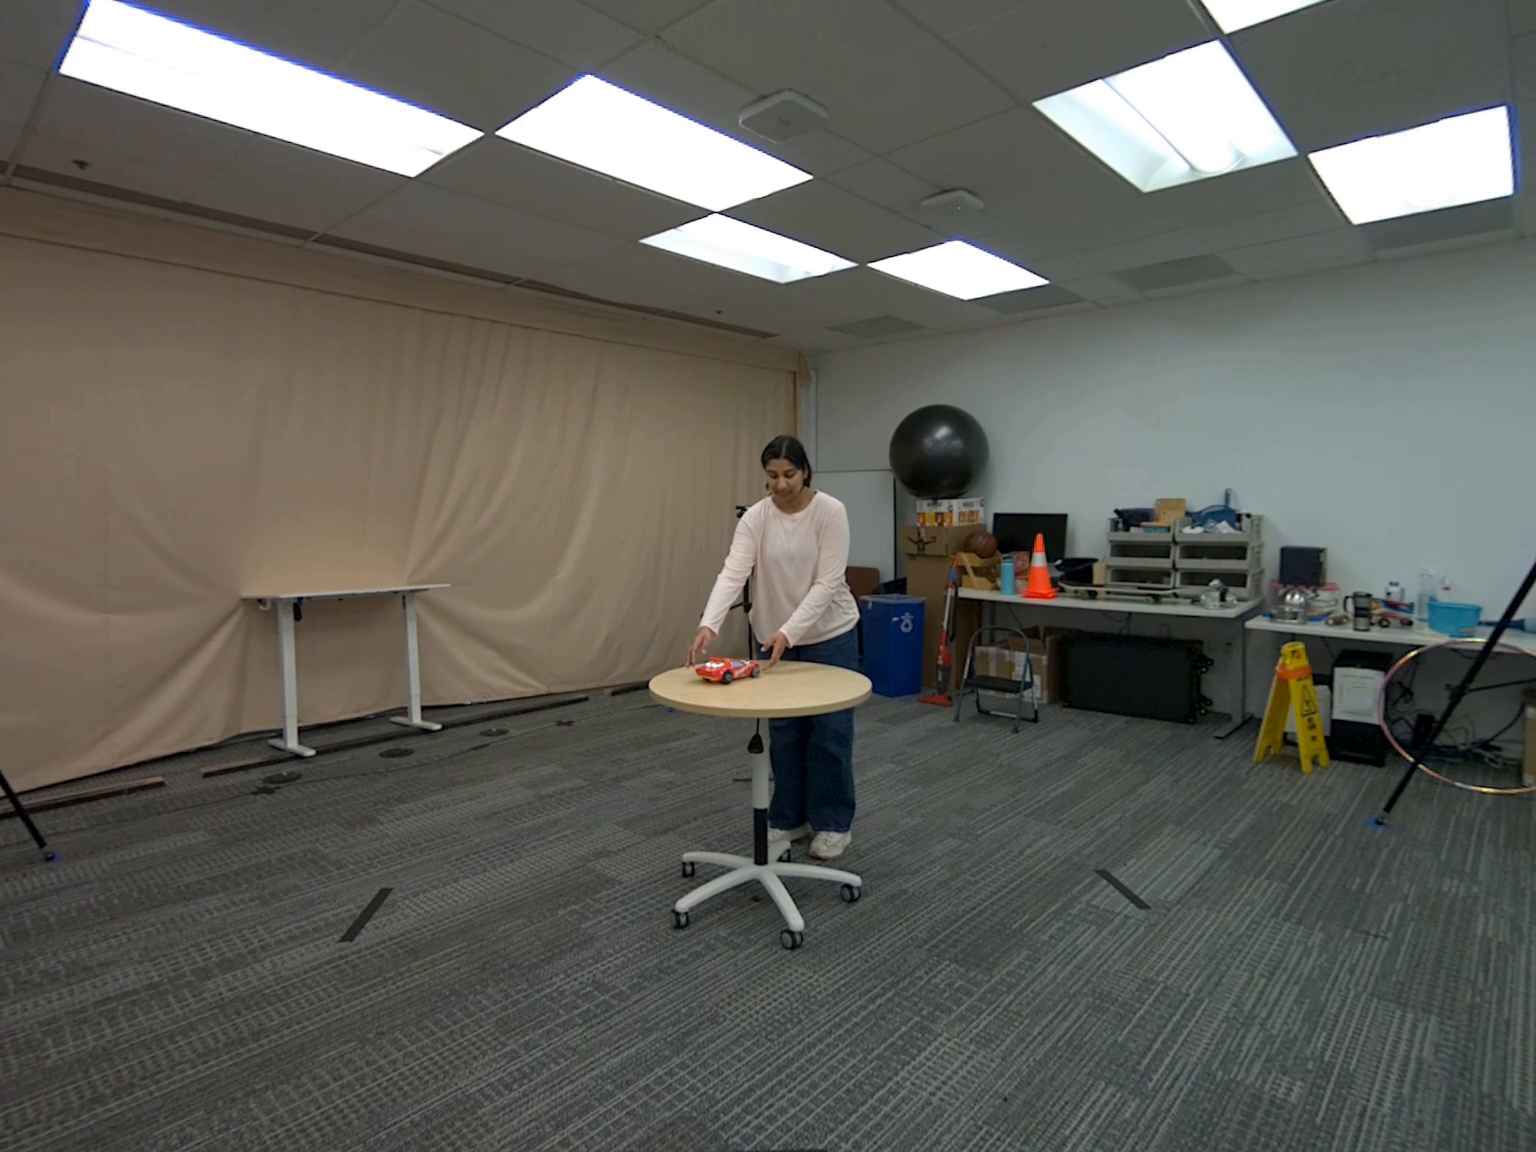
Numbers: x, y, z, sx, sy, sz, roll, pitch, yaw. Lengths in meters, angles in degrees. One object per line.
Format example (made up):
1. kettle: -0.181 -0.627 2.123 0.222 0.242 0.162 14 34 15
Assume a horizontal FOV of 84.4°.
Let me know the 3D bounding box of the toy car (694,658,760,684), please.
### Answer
1. toy car: -0.140 0.332 2.952 0.135 0.083 0.246 4 -4 43
